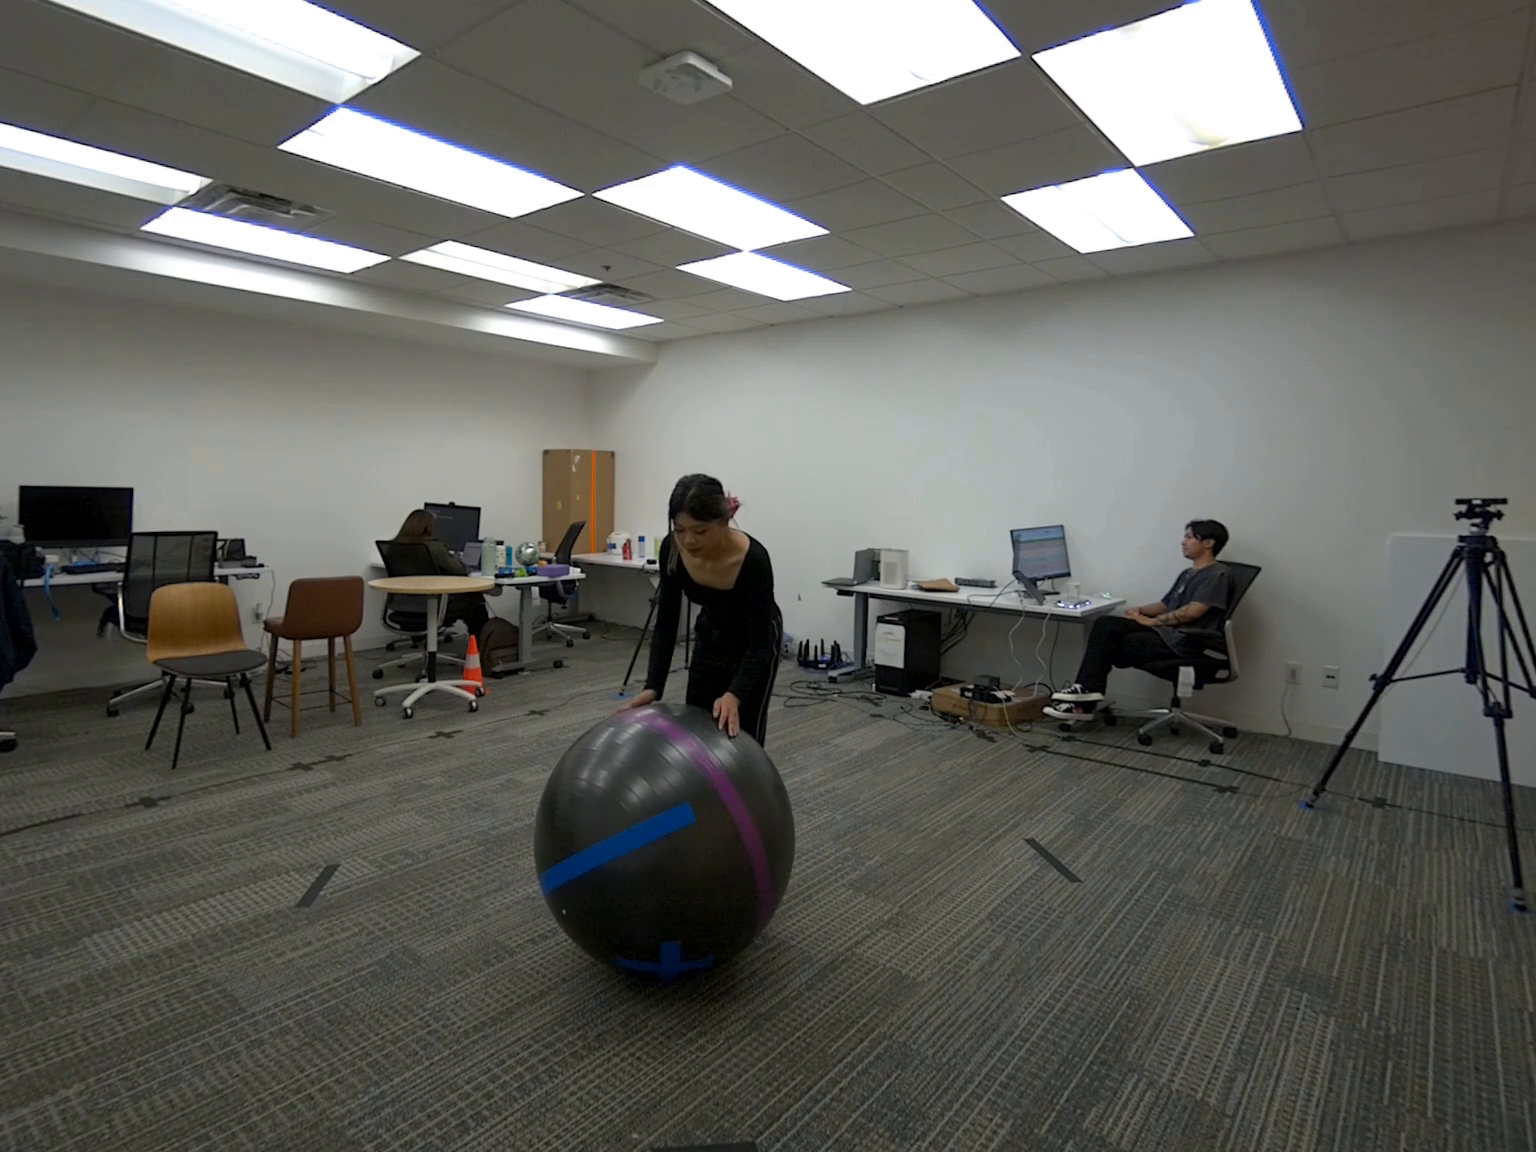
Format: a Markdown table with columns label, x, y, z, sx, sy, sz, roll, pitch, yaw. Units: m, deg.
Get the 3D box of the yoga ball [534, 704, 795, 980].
| label | x | y | z | sx | sy | sz | roll | pitch | yaw |
| --- | --- | --- | --- | --- | --- | --- | --- | --- | --- |
| yoga ball | -0.309 | 0.753 | 2.495 | 0.757 | 0.755 | 0.762 | 1 | 4 | -2 |
